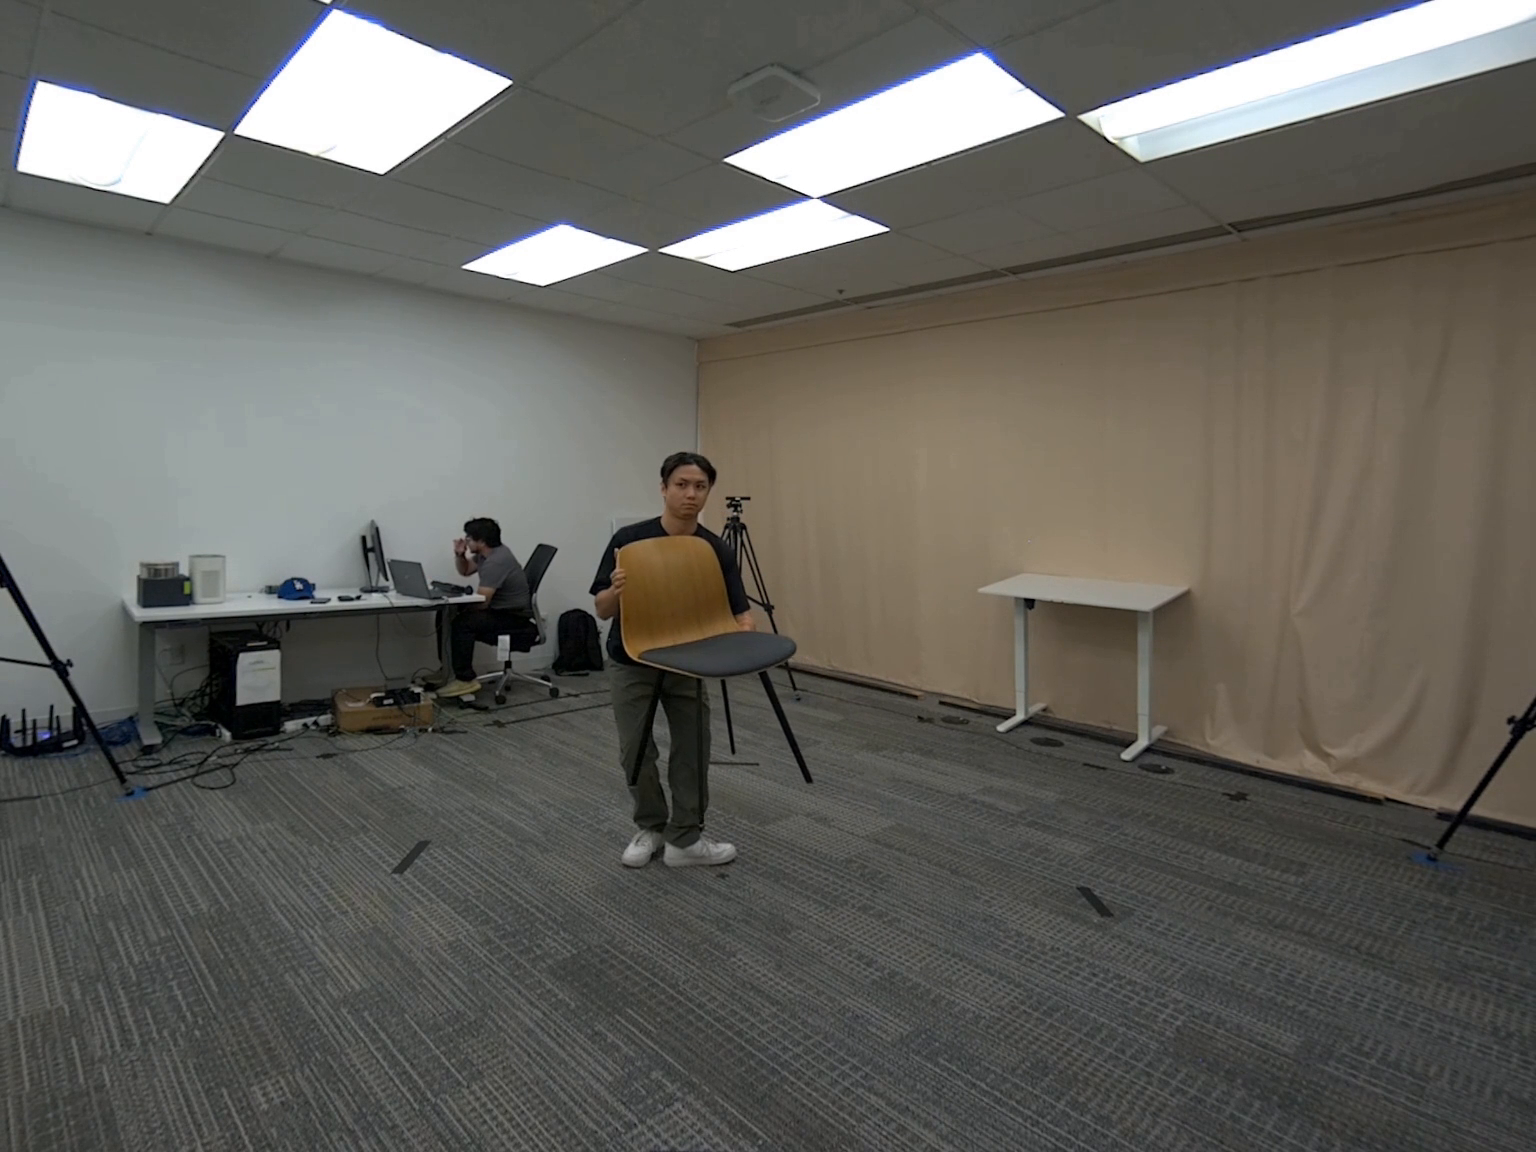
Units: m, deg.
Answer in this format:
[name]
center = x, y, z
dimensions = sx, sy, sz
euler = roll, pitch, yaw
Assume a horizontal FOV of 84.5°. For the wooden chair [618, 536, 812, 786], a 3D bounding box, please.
[wooden chair]
center = -0.201, 0.301, 2.818
dimensions = 0.469, 0.876, 0.534
euler = -9, 3, -37
